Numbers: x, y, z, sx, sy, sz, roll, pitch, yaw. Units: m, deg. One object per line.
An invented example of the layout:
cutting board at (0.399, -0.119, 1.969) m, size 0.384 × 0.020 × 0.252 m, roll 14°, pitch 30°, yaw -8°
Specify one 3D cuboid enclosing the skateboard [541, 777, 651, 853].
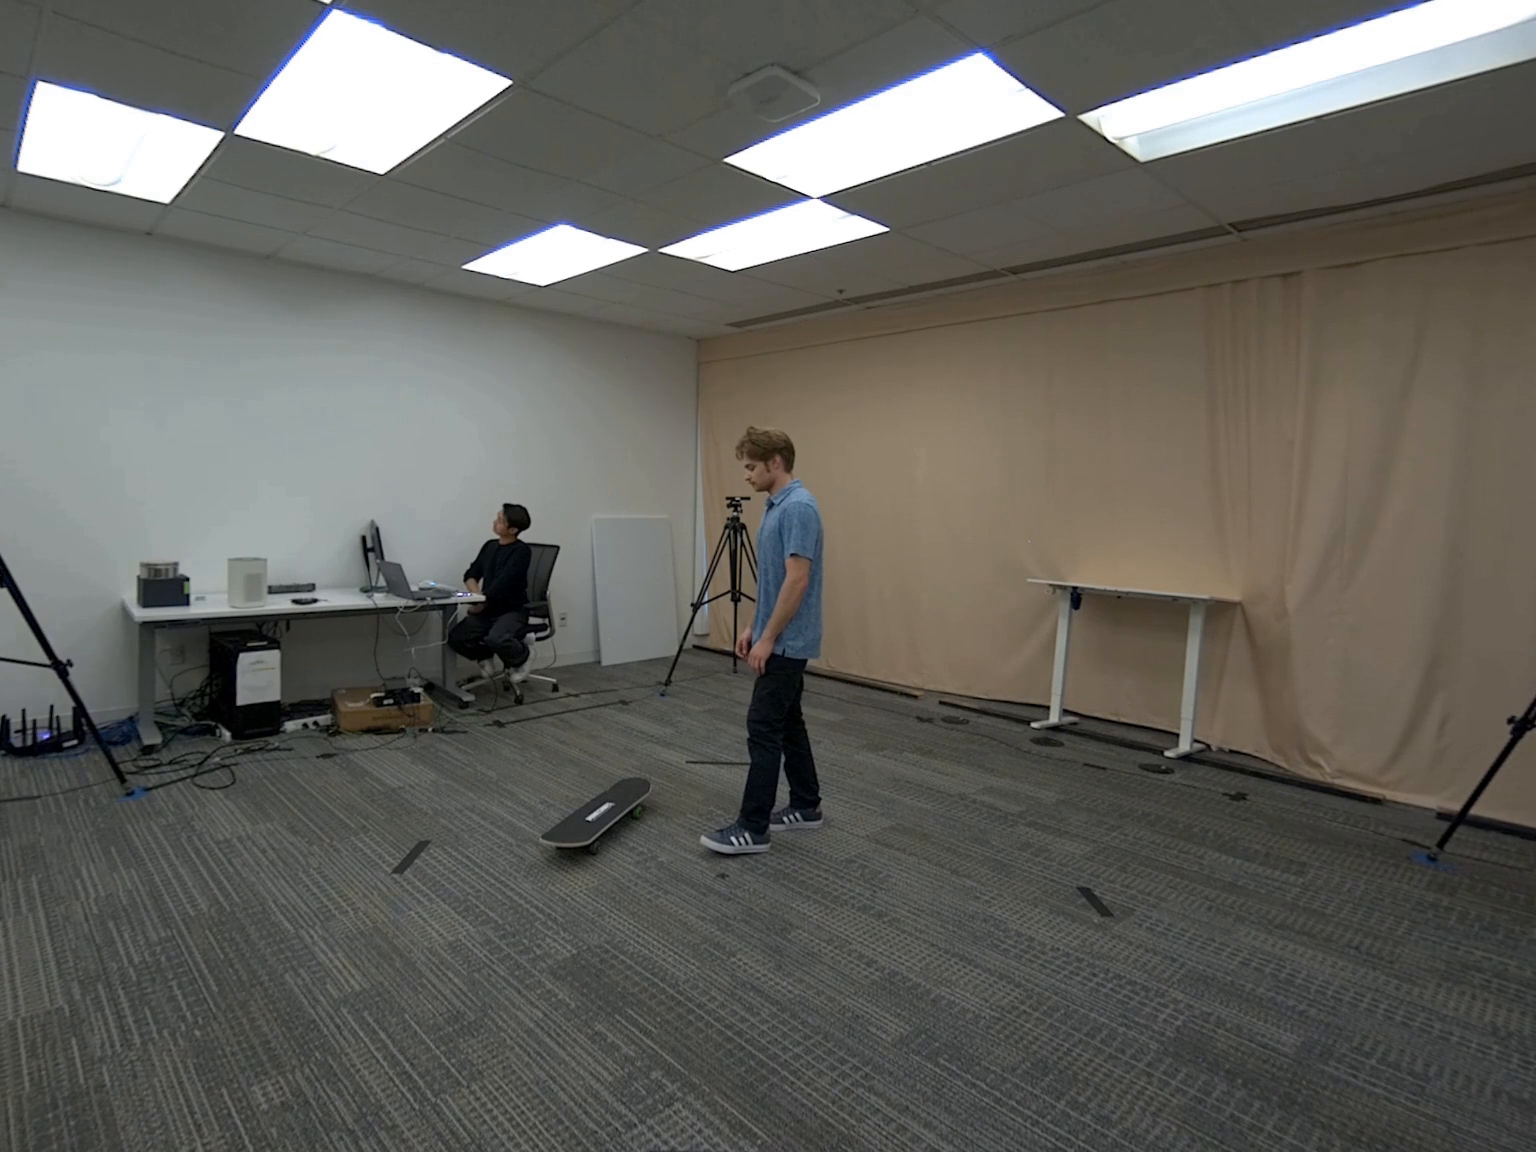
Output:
skateboard at (-0.698, 1.005, 3.474) m, size 0.196 × 0.110 × 0.777 m, roll 2°, pitch 4°, yaw 14°
